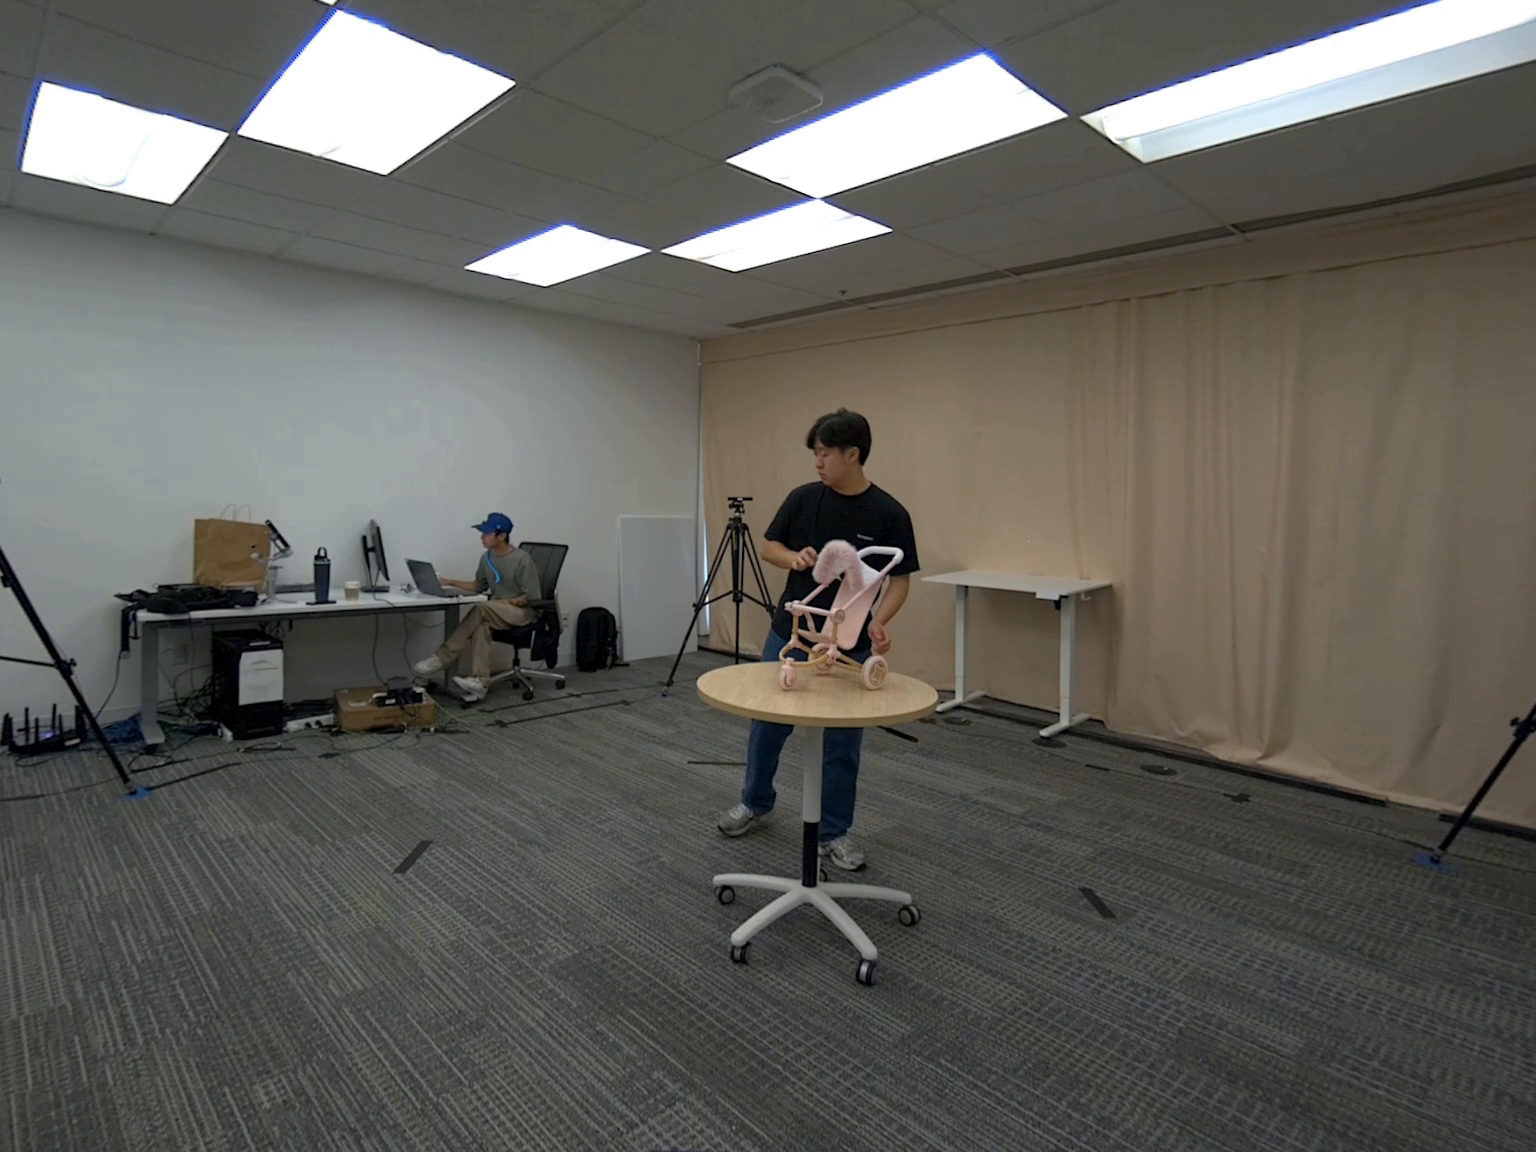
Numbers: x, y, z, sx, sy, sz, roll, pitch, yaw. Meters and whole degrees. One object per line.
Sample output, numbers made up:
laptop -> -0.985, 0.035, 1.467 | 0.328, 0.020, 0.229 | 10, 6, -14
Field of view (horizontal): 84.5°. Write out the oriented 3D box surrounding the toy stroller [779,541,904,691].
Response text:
toy stroller -> 0.204, 0.129, 2.721 | 0.333, 0.536, 0.288 | 15, -5, -32
